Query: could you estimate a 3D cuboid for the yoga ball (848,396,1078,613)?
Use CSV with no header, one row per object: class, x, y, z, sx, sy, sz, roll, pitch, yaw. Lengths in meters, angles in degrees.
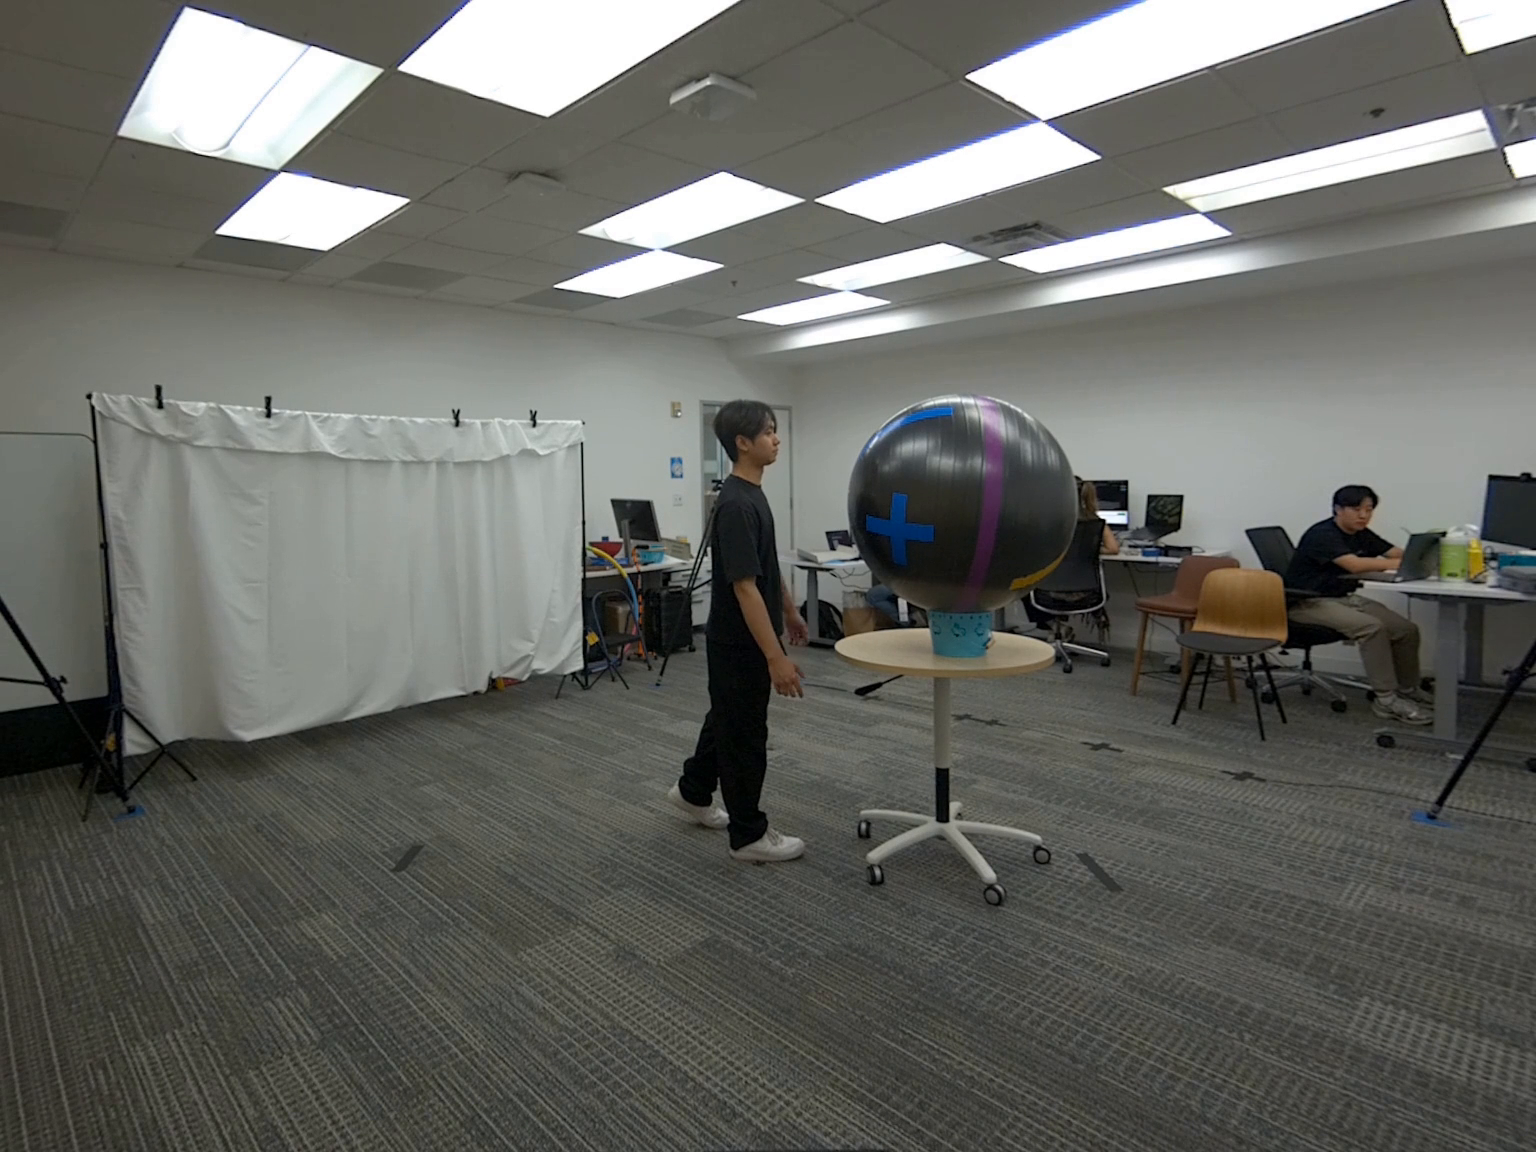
yoga ball,0.670,-0.246,2.959,0.757,0.755,0.762,-1,5,-2
